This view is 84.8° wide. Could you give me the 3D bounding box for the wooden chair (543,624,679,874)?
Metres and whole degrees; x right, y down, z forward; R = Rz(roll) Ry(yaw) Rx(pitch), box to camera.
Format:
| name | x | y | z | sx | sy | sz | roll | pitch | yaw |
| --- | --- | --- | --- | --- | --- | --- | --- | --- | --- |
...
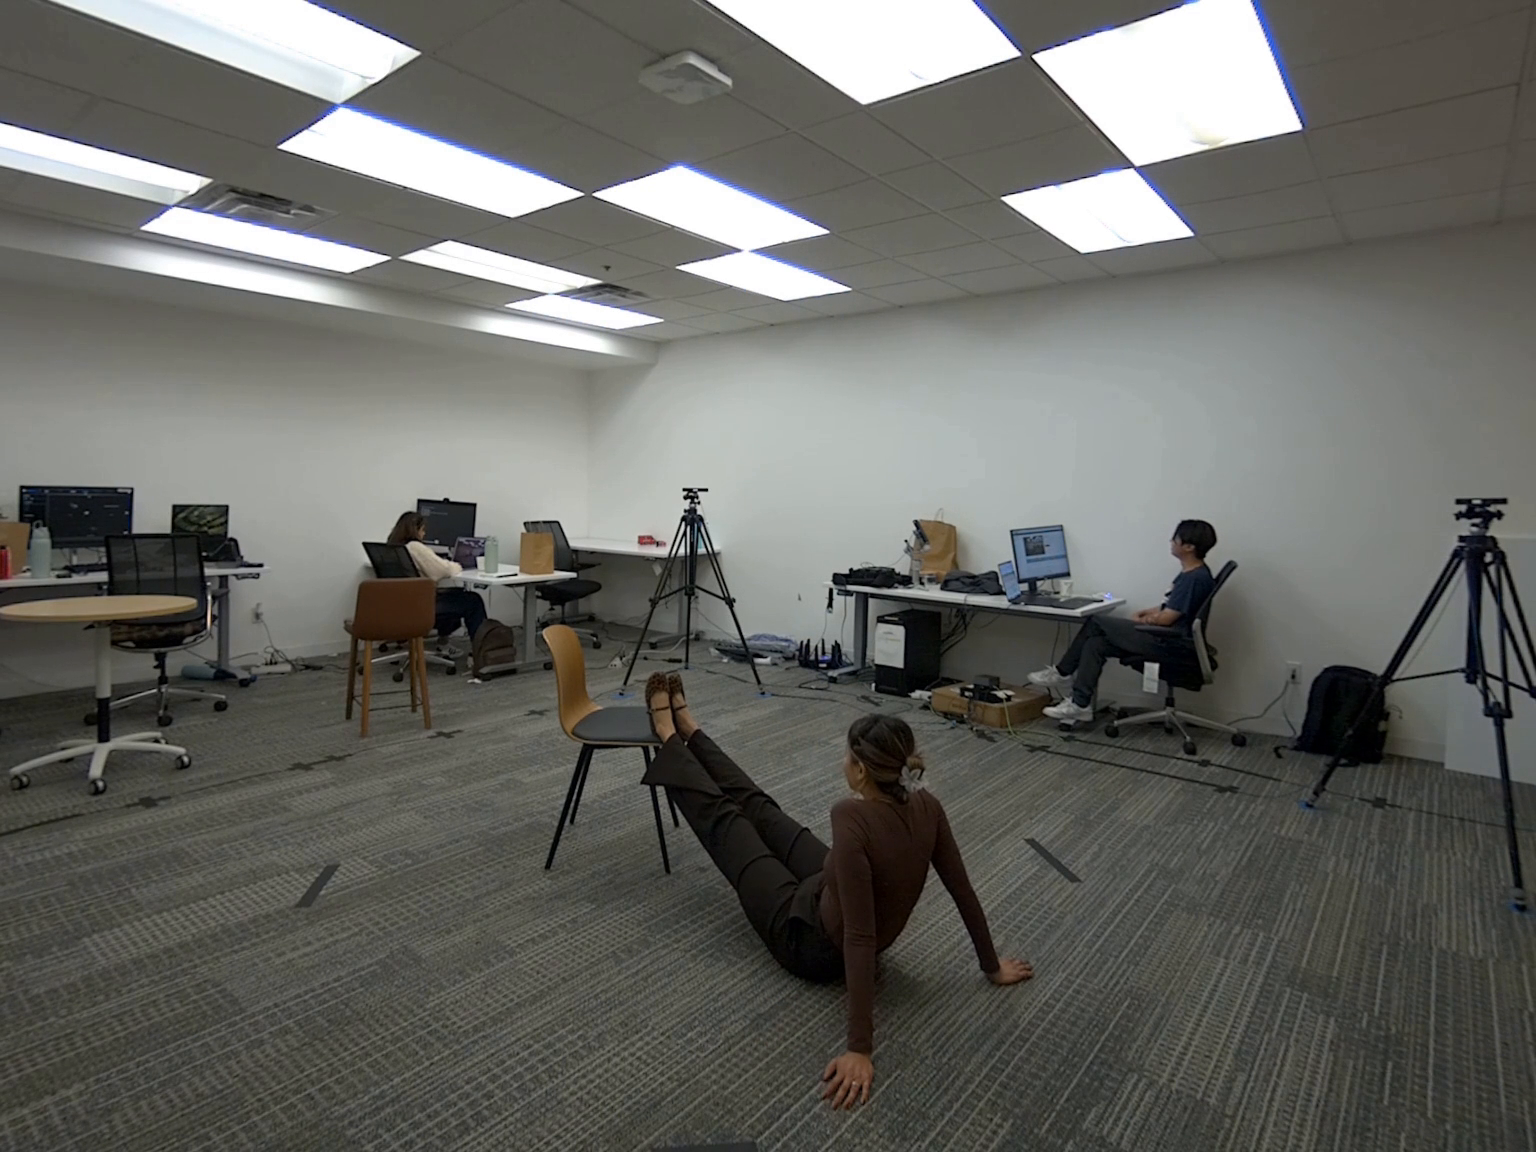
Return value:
| name | x | y | z | sx | sy | sz | roll | pitch | yaw |
| --- | --- | --- | --- | --- | --- | --- | --- | --- | --- |
| wooden chair | -0.583 | 0.619 | 3.267 | 0.524 | 0.875 | 0.479 | -3 | 3 | 1 |
